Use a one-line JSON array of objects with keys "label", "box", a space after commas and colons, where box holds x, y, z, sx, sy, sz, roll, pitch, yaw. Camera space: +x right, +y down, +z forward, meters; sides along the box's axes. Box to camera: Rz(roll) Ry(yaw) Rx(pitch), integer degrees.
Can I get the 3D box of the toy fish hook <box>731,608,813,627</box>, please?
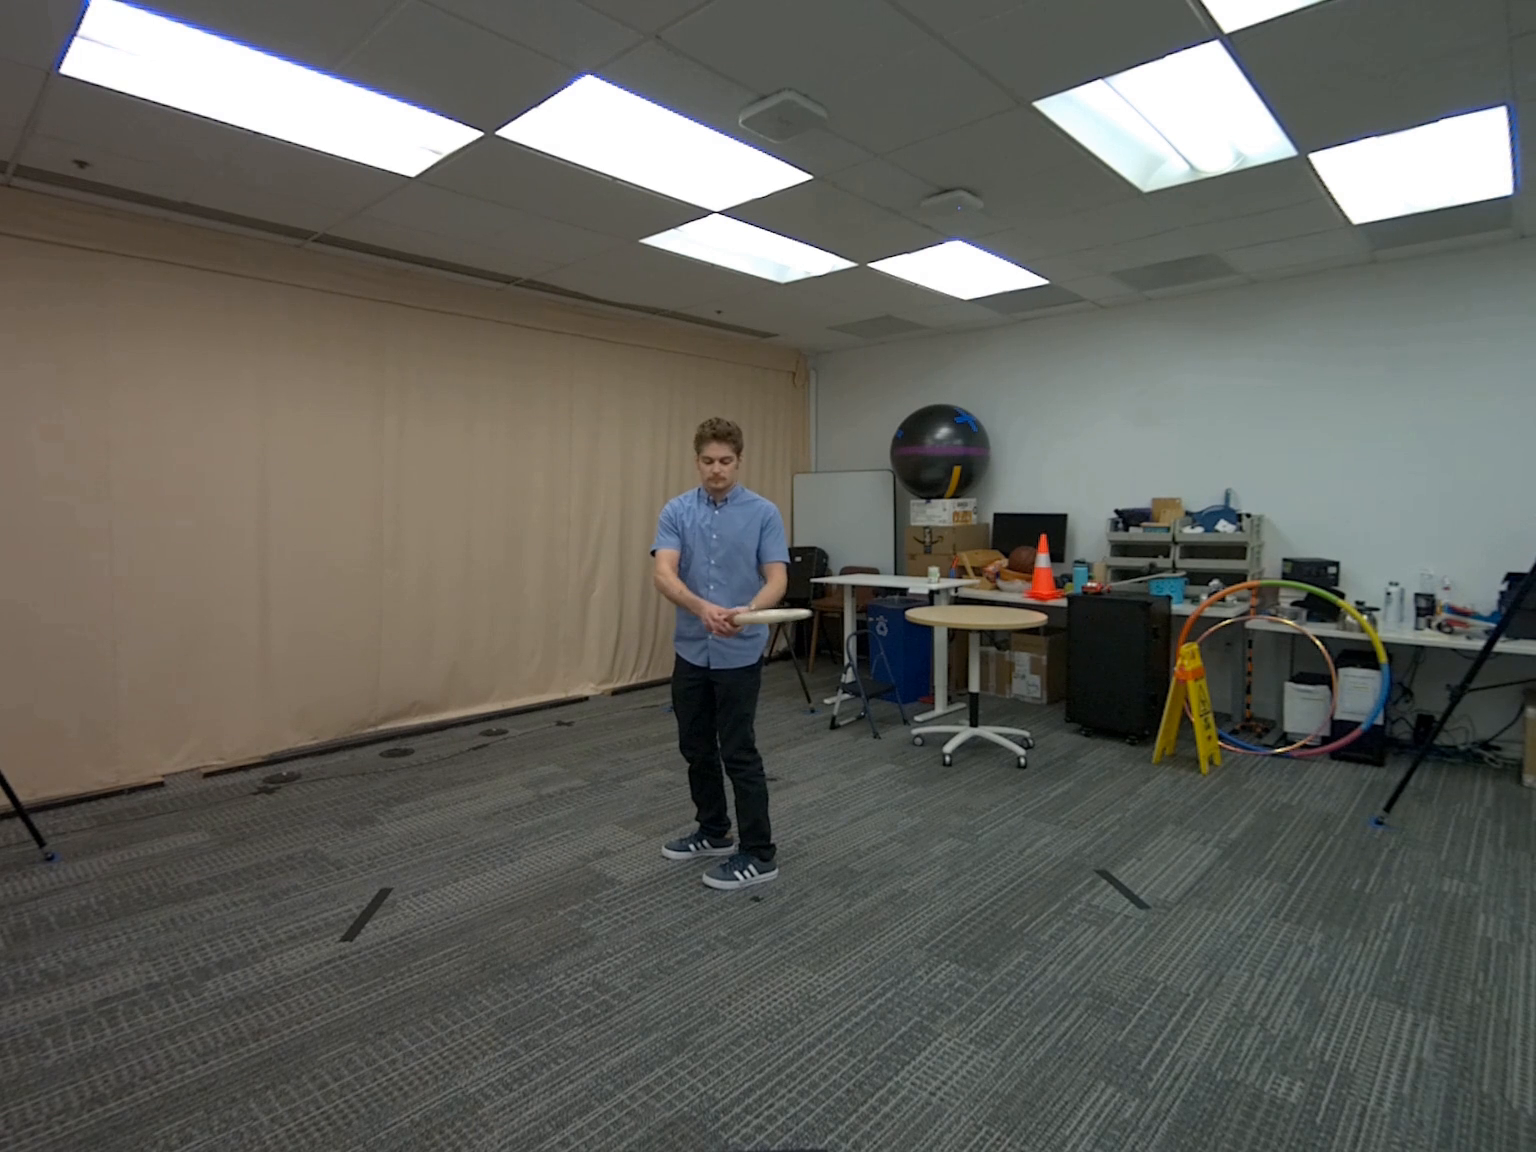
[{"label": "toy fish hook", "box": [-0.028, 0.139, 2.713, 0.218, 0.048, 0.519, 5, -6, -31]}]
